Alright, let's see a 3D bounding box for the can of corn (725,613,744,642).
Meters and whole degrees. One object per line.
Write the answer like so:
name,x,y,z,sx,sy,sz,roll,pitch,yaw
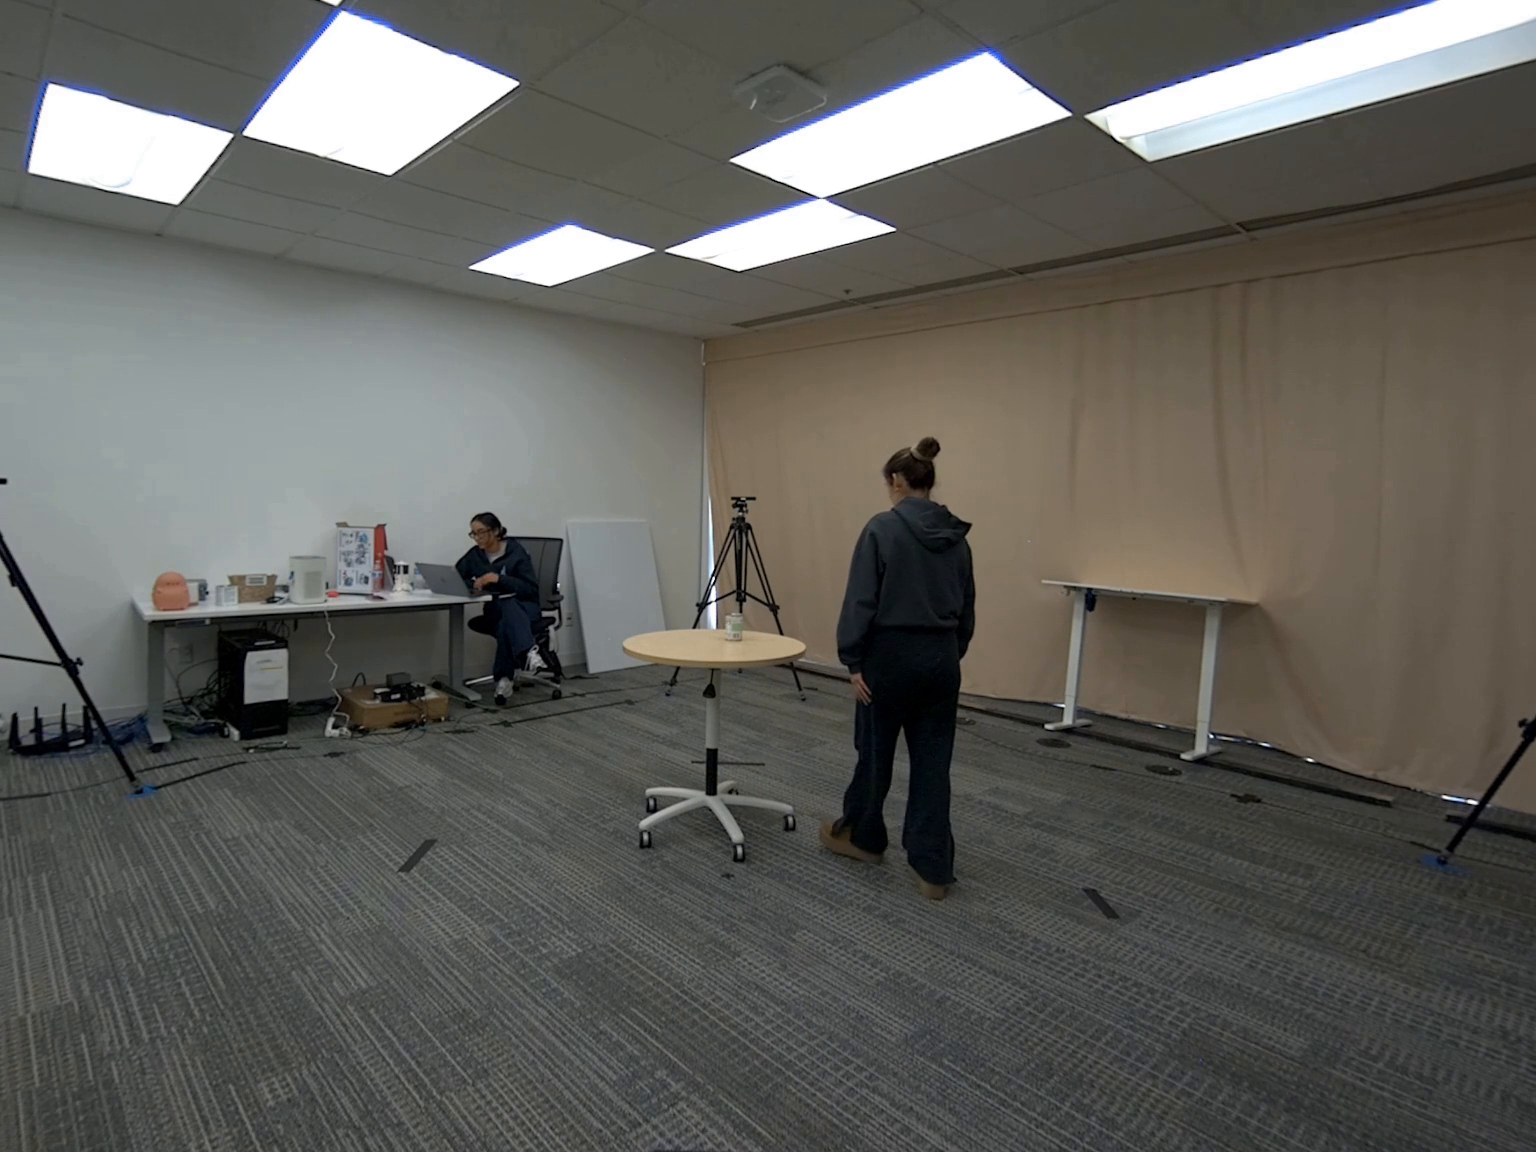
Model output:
can of corn,-0.158,0.223,3.637,0.074,0.111,0.074,5,2,-2
